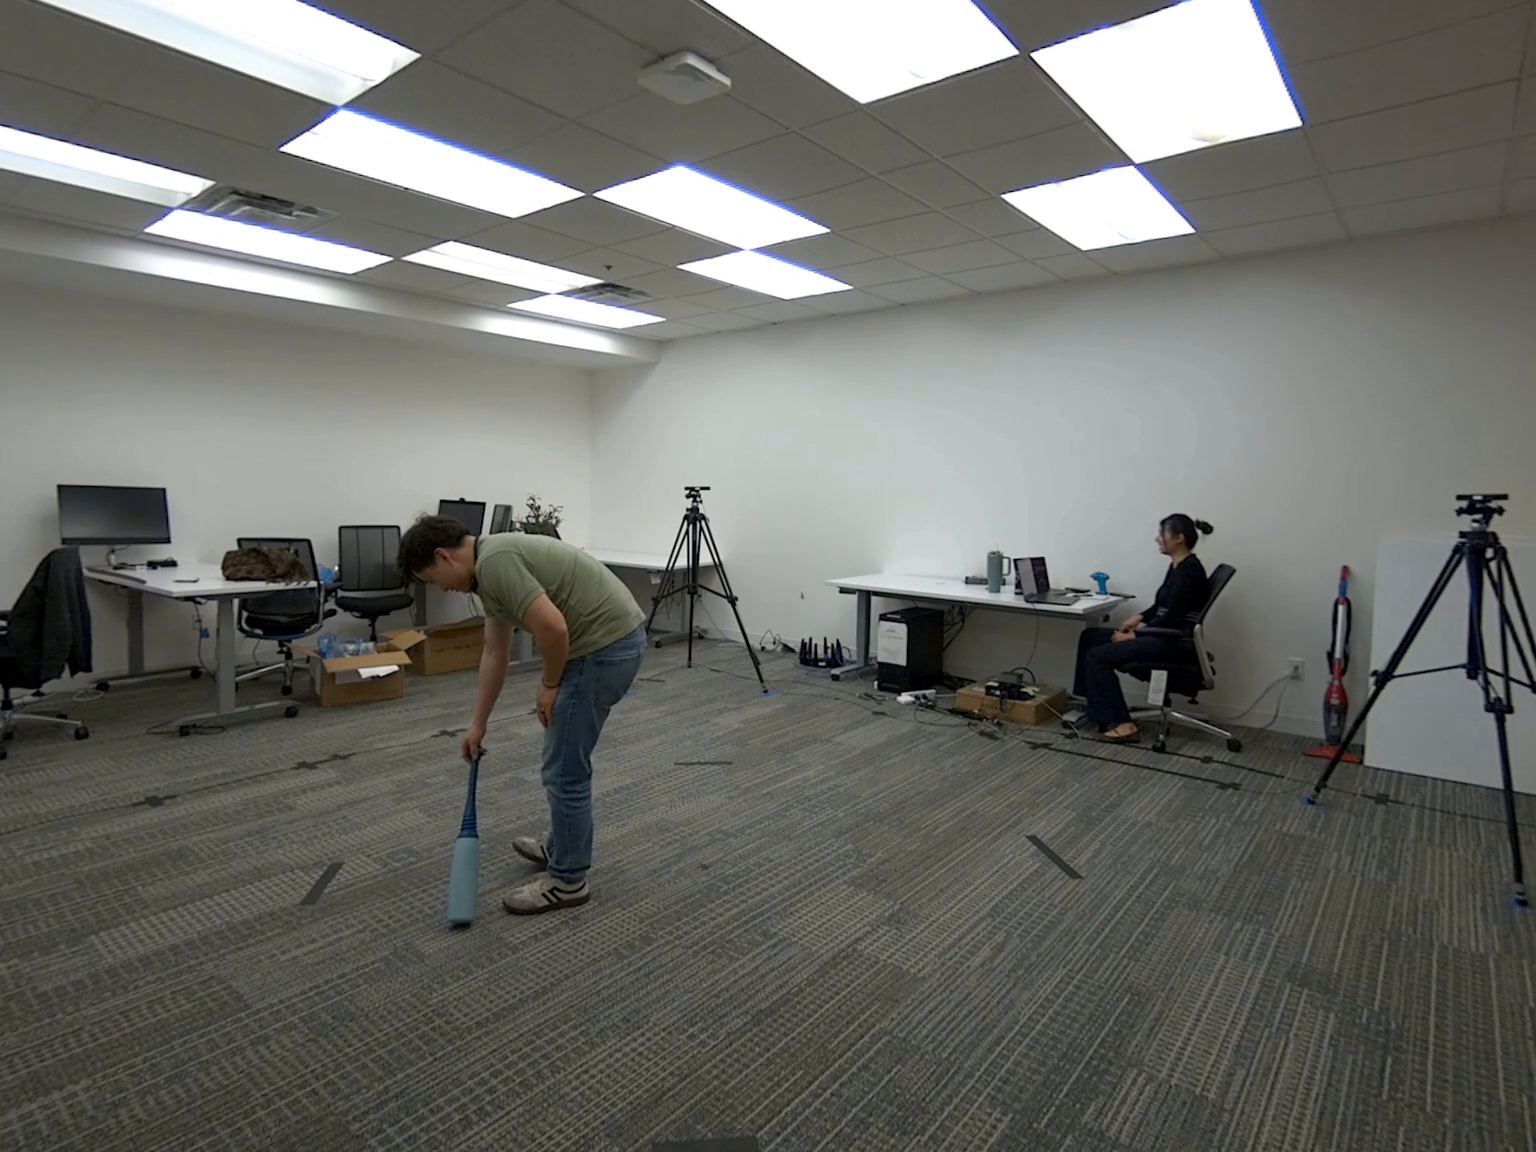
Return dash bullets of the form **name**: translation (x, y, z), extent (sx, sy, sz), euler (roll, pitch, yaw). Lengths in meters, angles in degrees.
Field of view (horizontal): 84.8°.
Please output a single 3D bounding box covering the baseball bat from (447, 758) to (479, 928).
- **baseball bat**: translation (-0.995, 0.845, 2.792), extent (0.089, 0.557, 0.087), euler (-2, -27, -3)
